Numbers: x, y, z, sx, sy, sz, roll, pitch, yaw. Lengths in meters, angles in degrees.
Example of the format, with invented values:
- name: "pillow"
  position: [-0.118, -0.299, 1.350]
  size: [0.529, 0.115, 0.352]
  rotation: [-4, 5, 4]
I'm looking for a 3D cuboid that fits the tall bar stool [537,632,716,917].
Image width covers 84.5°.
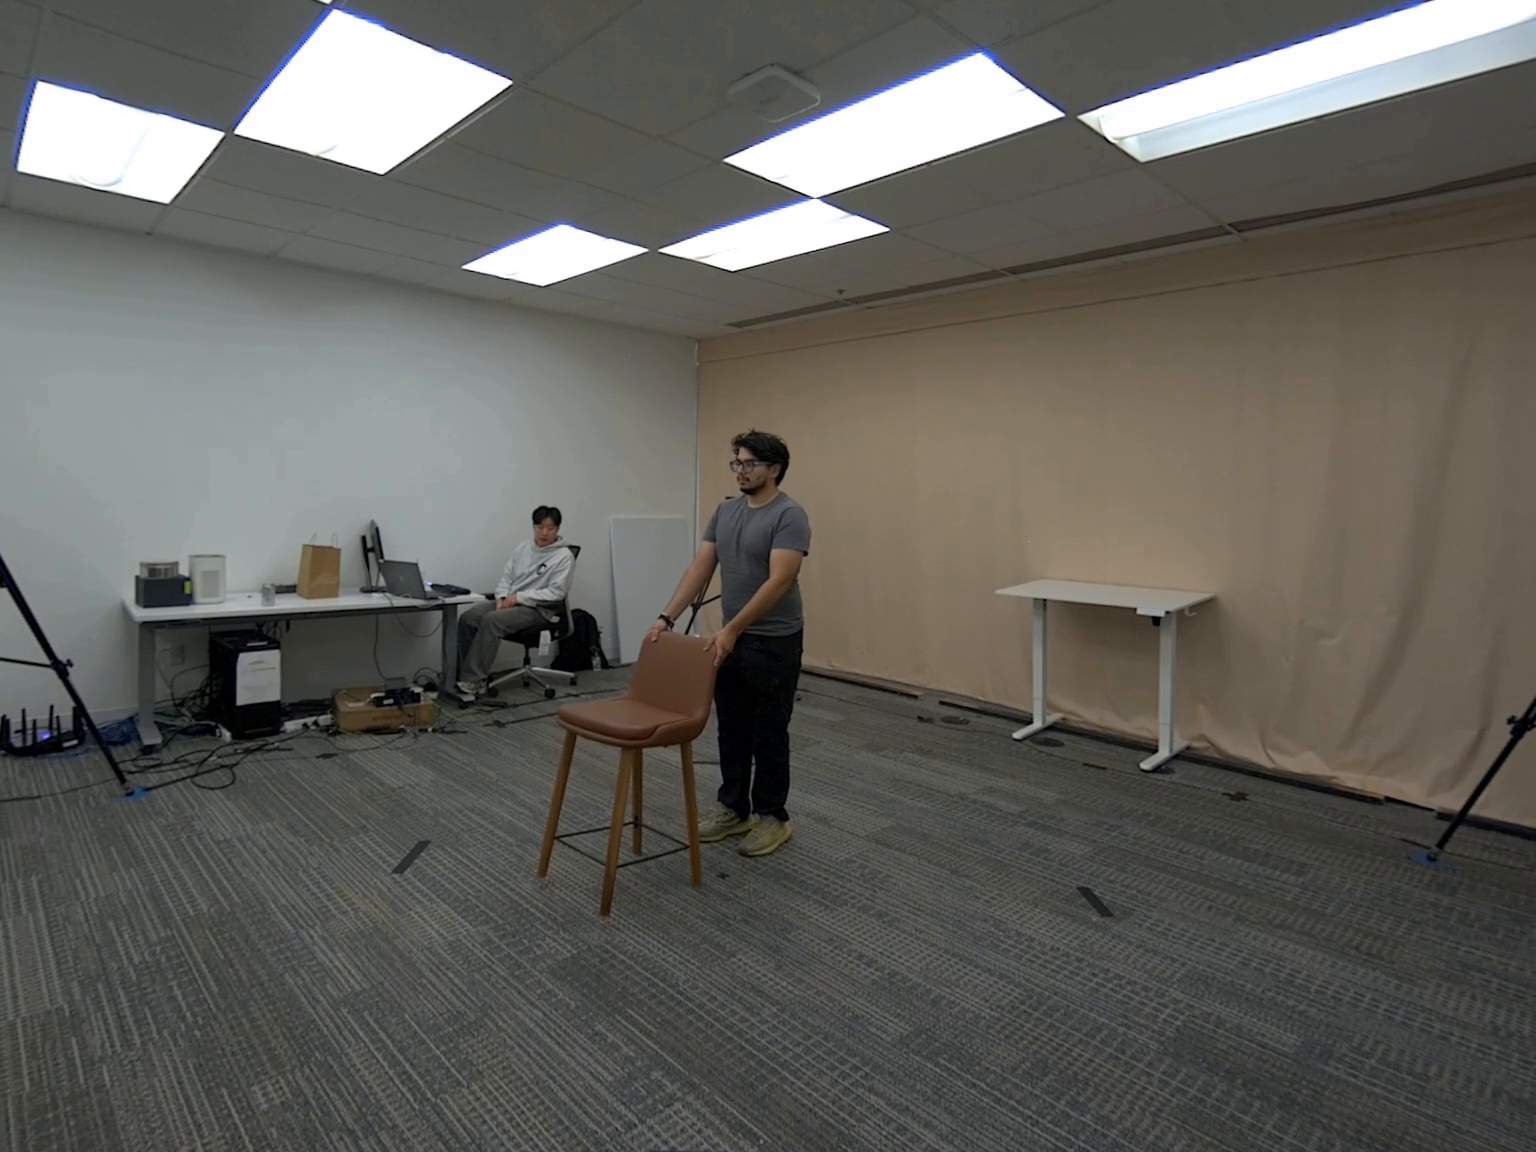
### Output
- name: "tall bar stool"
  position: [-0.491, 0.658, 3.010]
  size: [0.468, 0.891, 0.455]
  rotation: [4, -2, 44]
